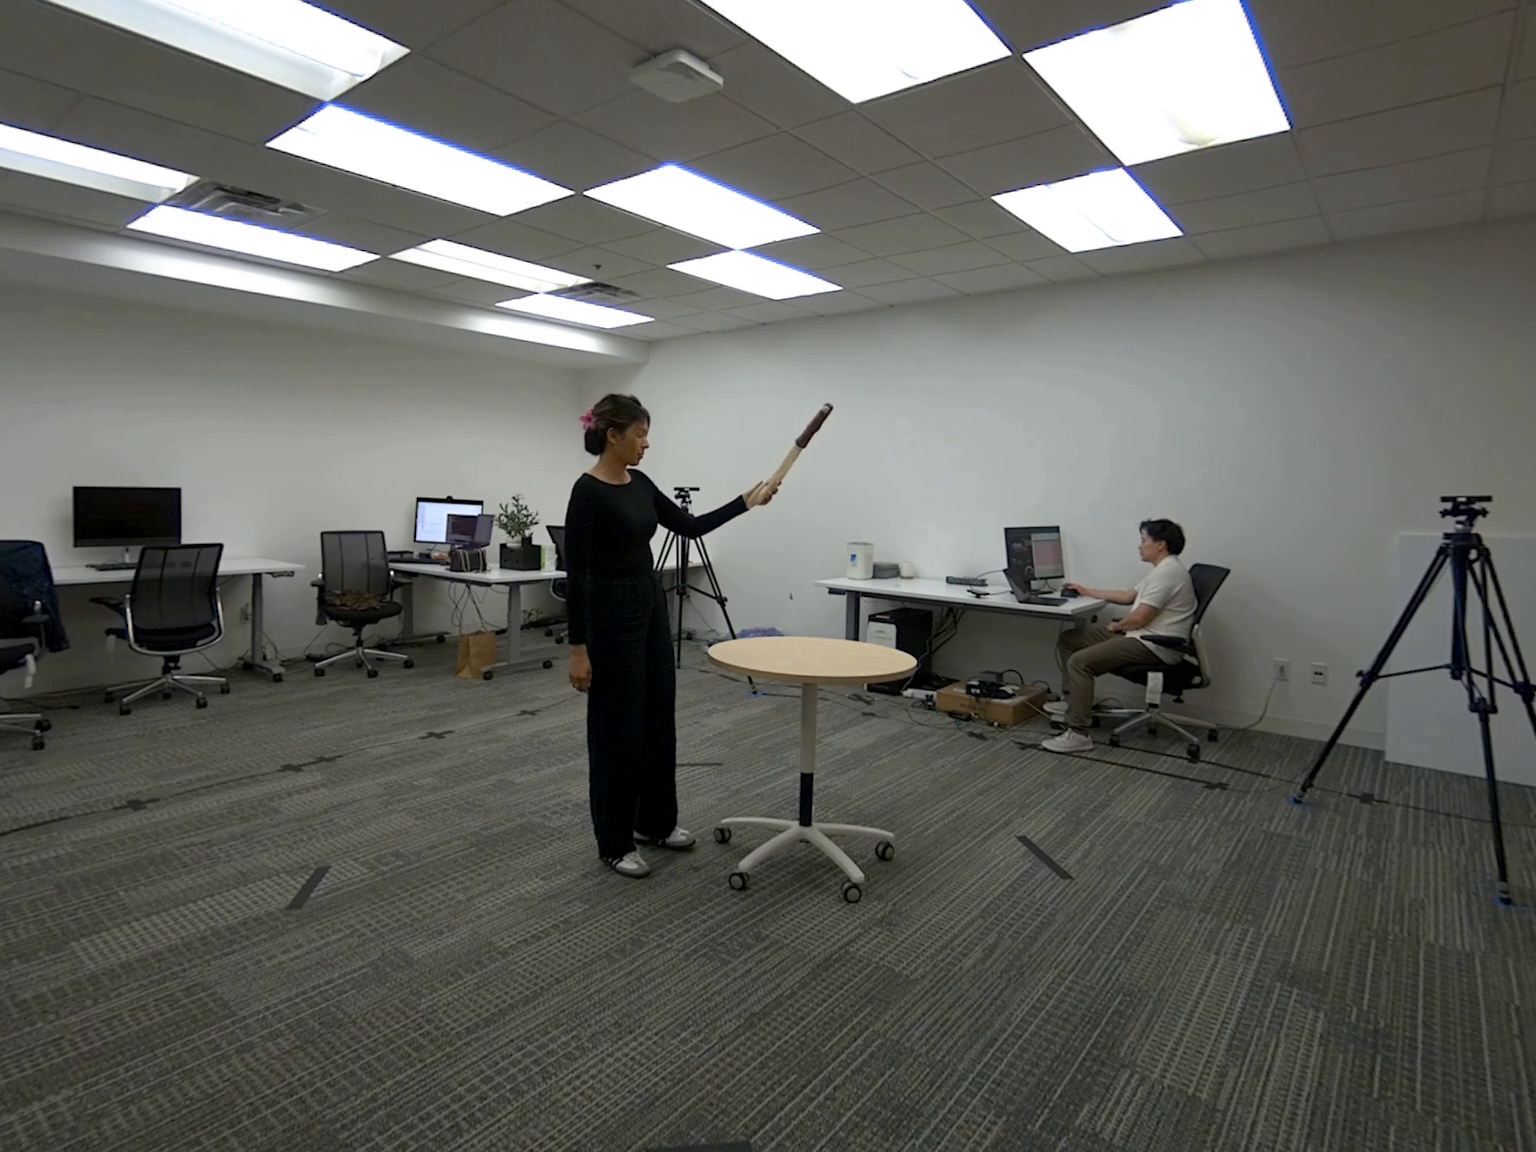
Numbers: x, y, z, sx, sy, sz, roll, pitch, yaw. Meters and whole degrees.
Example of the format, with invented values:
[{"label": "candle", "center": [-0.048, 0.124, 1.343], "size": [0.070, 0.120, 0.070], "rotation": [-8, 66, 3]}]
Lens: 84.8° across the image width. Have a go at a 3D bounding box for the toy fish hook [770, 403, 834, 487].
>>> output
[{"label": "toy fish hook", "center": [0.066, -0.422, 3.081], "size": [0.048, 0.503, 0.224], "rotation": [38, 39, 2]}]
